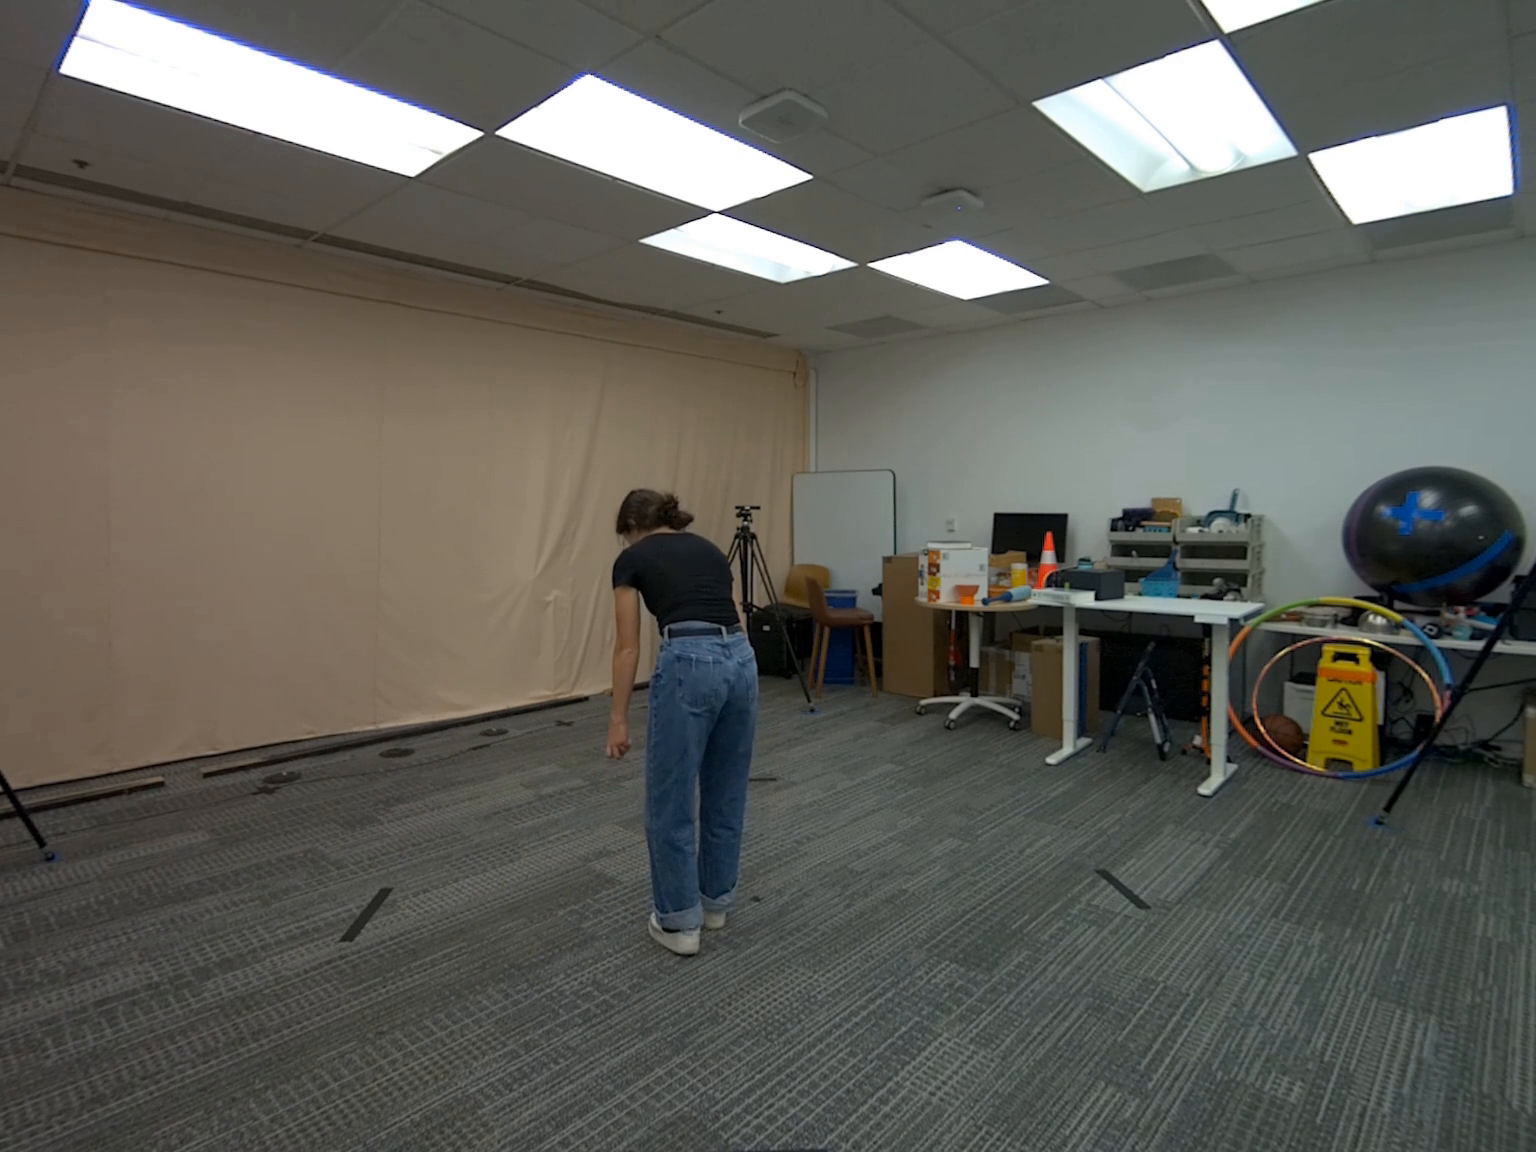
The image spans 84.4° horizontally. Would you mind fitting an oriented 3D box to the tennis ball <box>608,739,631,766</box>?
[{"bbox_3d":[-0.490,0.578,2.786,0.066,0.066,0.067,0,4,-2],"label":"tennis ball"}]
